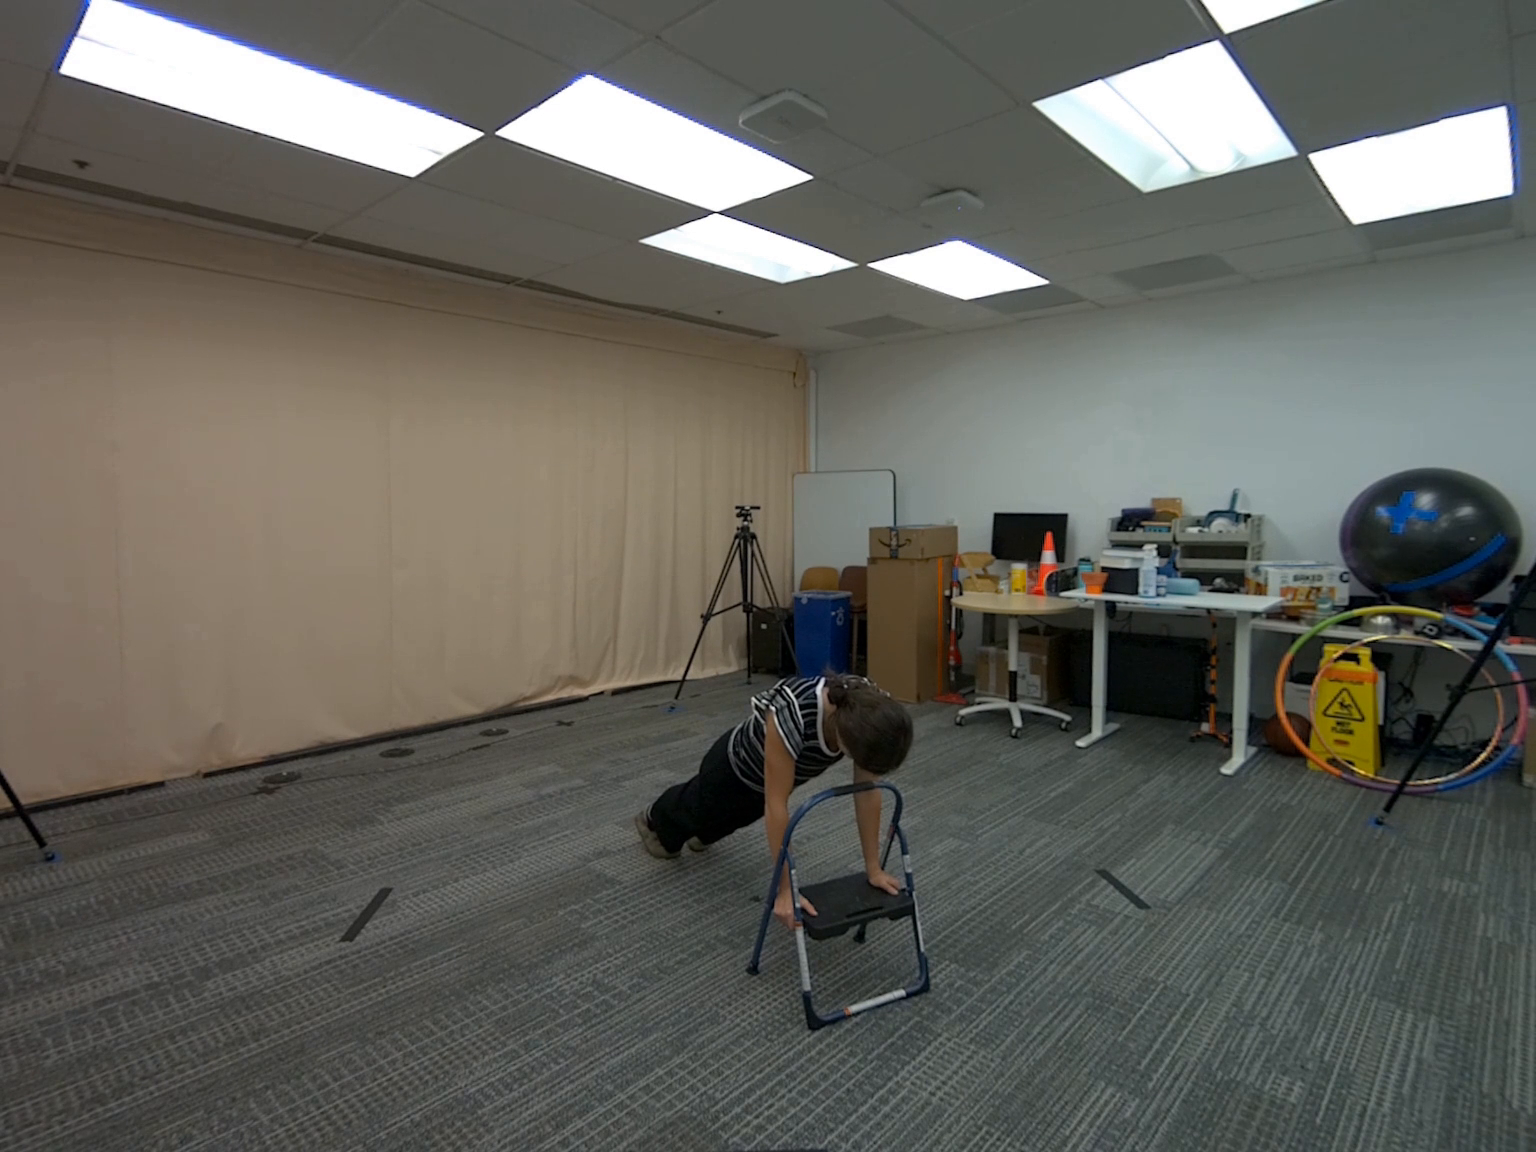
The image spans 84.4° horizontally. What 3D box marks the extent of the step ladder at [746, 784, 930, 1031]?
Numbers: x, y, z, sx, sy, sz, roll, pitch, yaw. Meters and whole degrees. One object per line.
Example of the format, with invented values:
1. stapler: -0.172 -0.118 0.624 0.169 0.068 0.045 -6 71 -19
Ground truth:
1. step ladder: 0.212 0.888 2.454 0.419 0.604 0.359 -2 5 -30
